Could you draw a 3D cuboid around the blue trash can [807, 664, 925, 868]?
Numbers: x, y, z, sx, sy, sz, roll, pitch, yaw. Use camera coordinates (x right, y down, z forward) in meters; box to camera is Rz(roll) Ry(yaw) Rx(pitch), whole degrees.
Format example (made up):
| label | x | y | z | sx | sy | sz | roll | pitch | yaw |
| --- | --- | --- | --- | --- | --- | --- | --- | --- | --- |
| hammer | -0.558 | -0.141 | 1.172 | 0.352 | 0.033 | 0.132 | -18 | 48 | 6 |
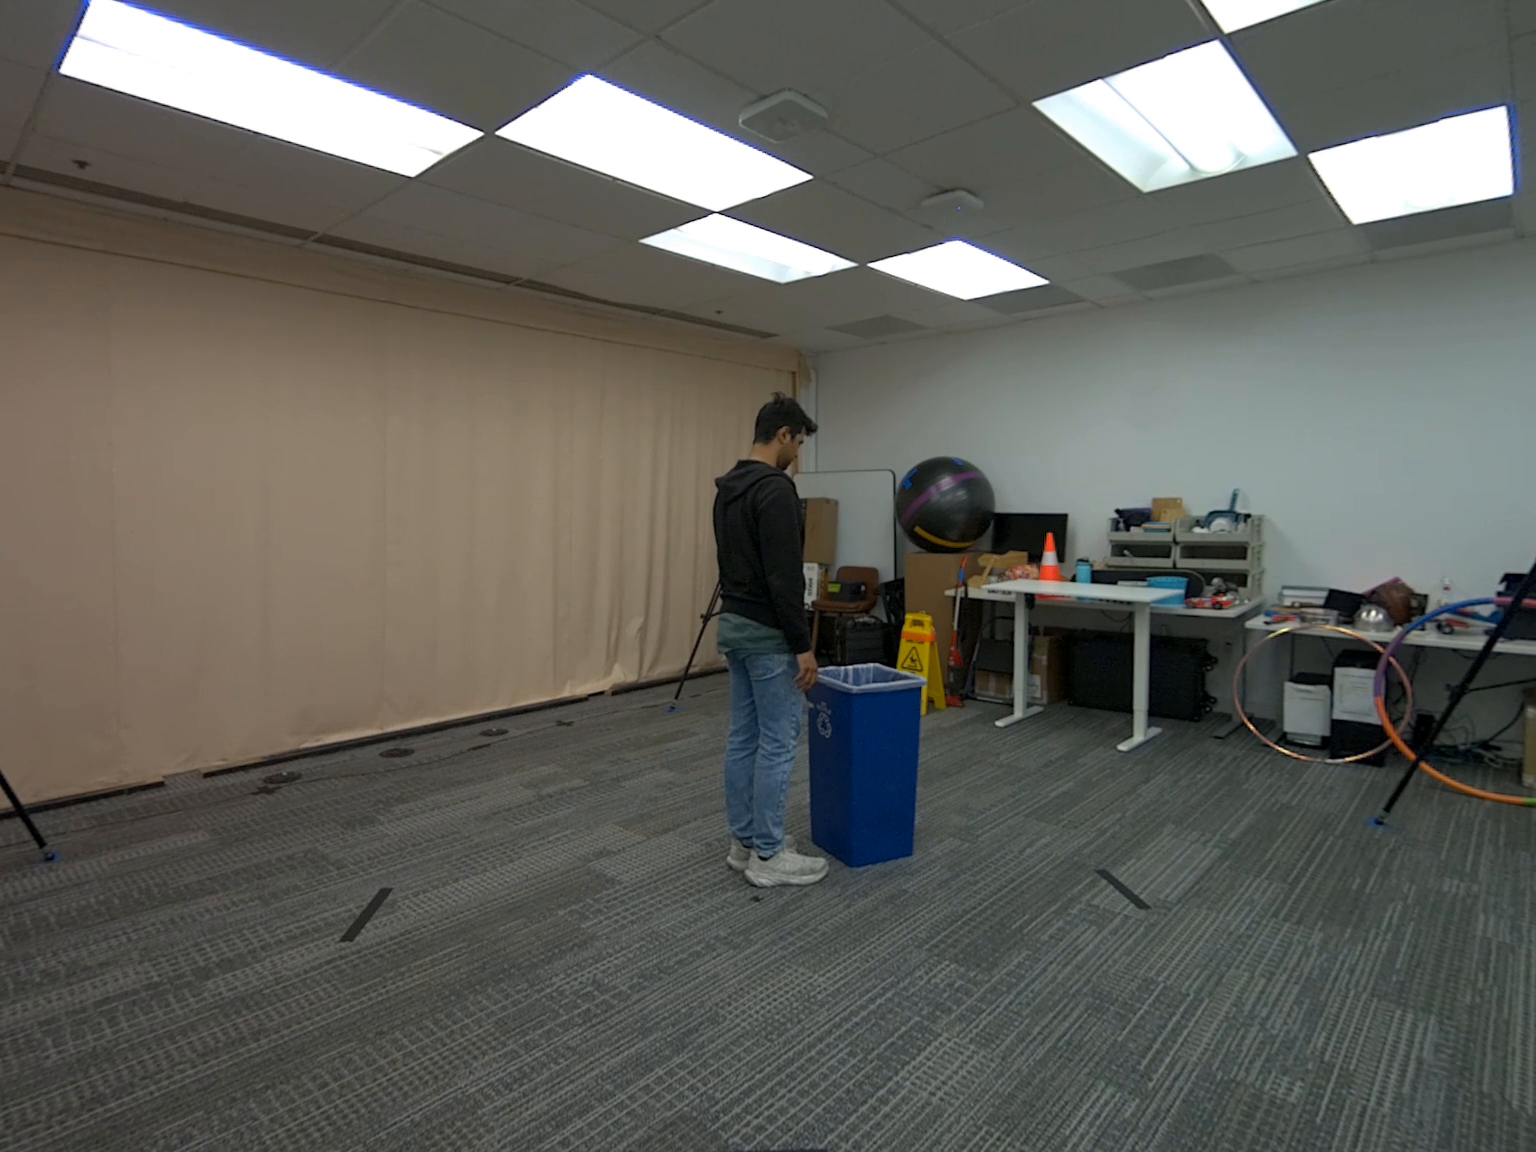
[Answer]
| label | x | y | z | sx | sy | sz | roll | pitch | yaw |
| --- | --- | --- | --- | --- | --- | --- | --- | --- | --- |
| blue trash can | 0.394 | 0.750 | 3.404 | 0.368 | 0.712 | 0.384 | -2 | 4 | -28 |
